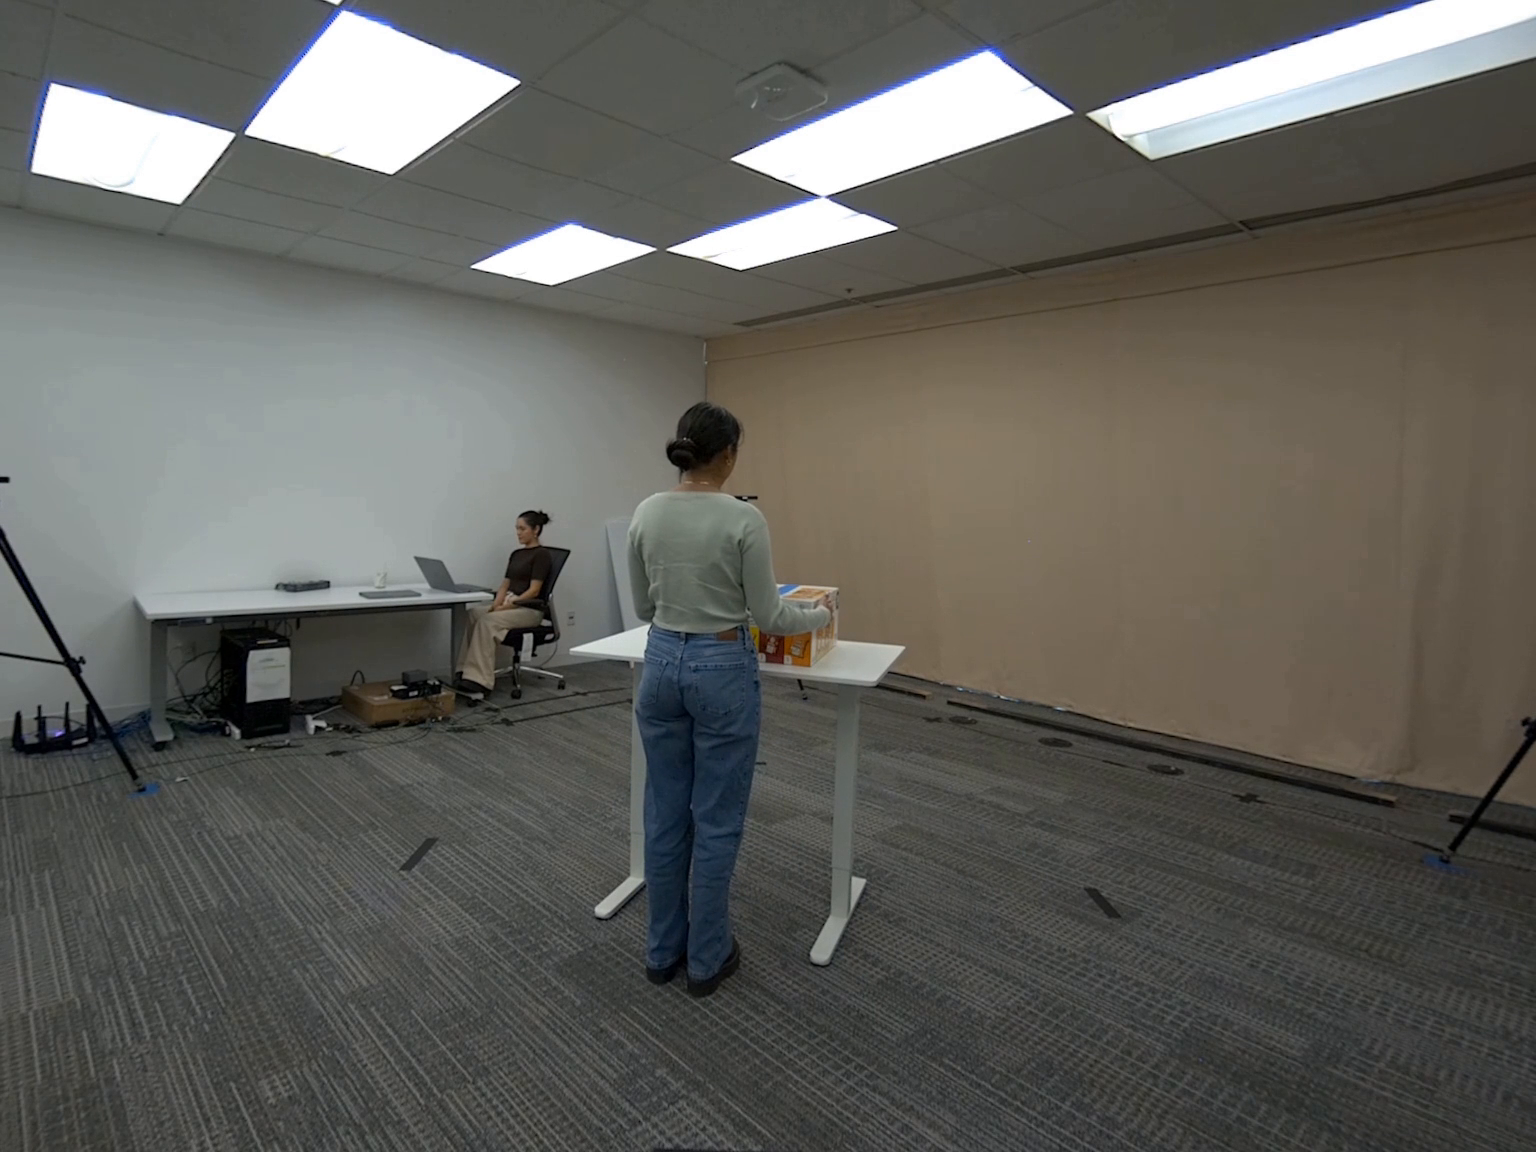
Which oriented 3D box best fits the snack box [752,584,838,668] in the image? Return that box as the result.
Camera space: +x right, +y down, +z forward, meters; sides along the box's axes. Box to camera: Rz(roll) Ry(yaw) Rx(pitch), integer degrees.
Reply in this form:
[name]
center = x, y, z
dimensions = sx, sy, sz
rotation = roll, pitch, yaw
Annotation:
[snack box]
center = 0.023, 0.151, 2.814
dimensions = 0.345, 0.205, 0.400
rotation = 4, 6, 18
